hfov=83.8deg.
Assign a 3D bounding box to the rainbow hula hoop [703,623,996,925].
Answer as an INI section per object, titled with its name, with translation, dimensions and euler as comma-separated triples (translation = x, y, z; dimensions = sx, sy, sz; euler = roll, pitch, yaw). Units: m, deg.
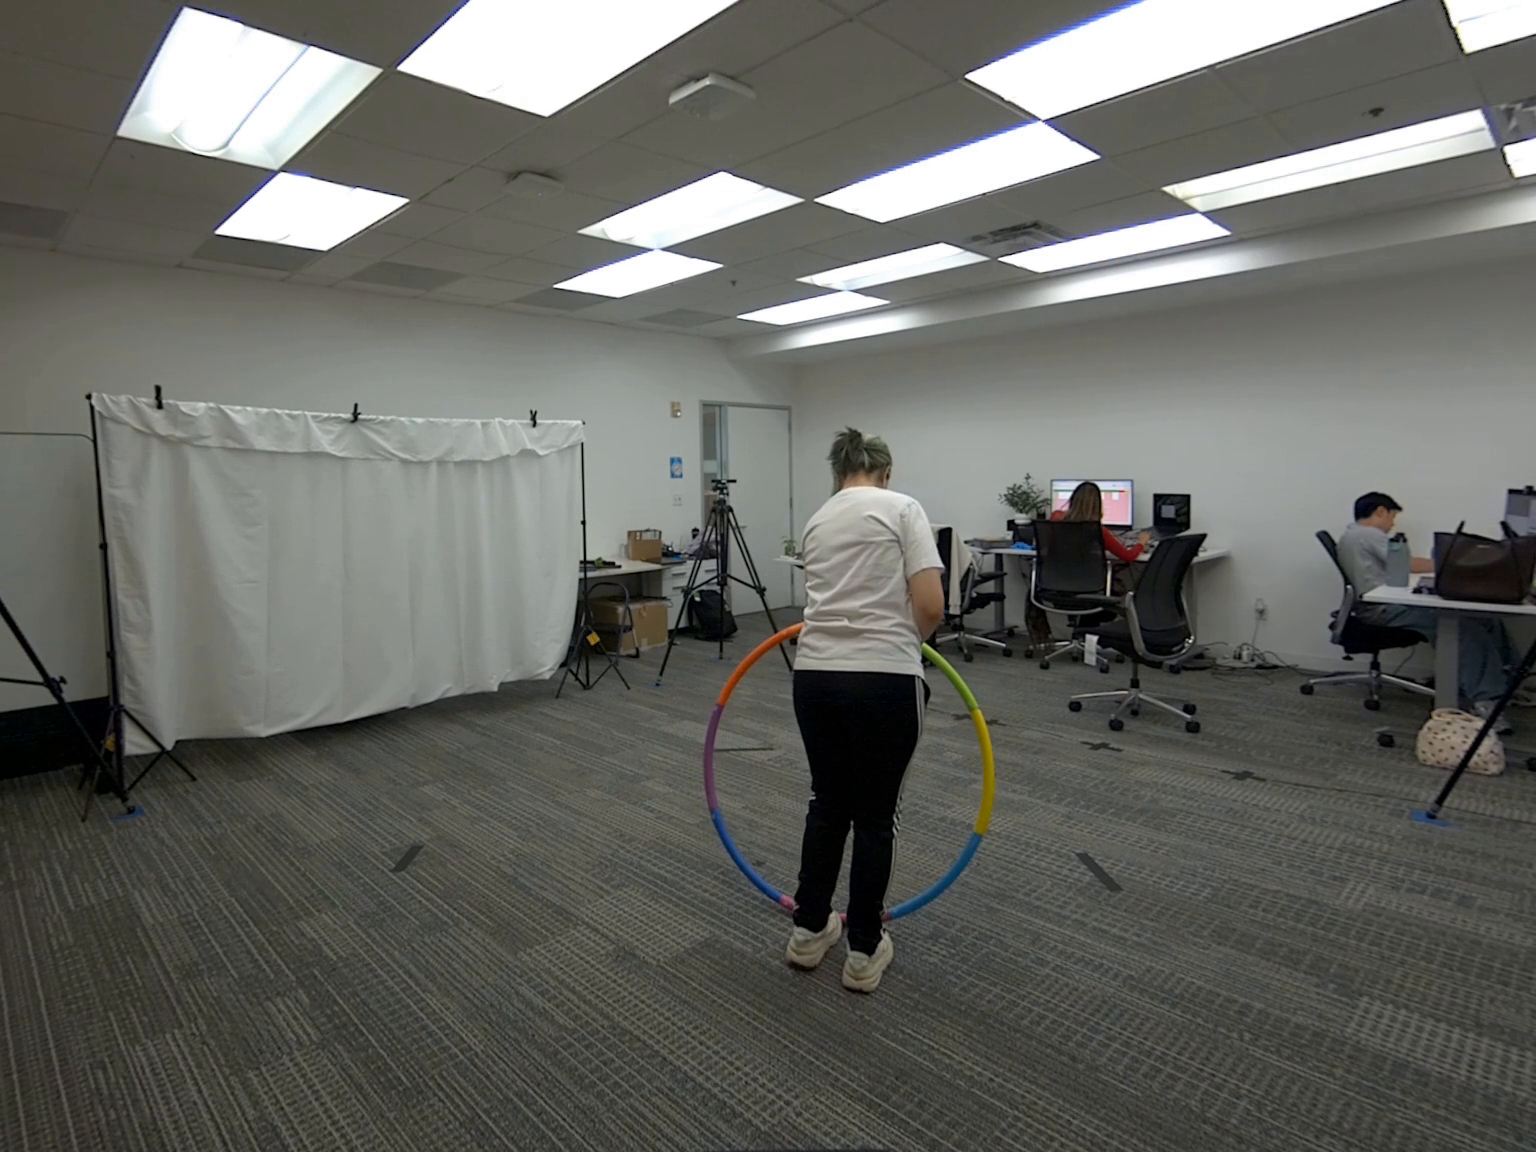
[rainbow hula hoop]
translation = 0.232, 0.619, 2.823
dimensions = 1.002, 0.990, 0.034
euler = 1, -17, 26
